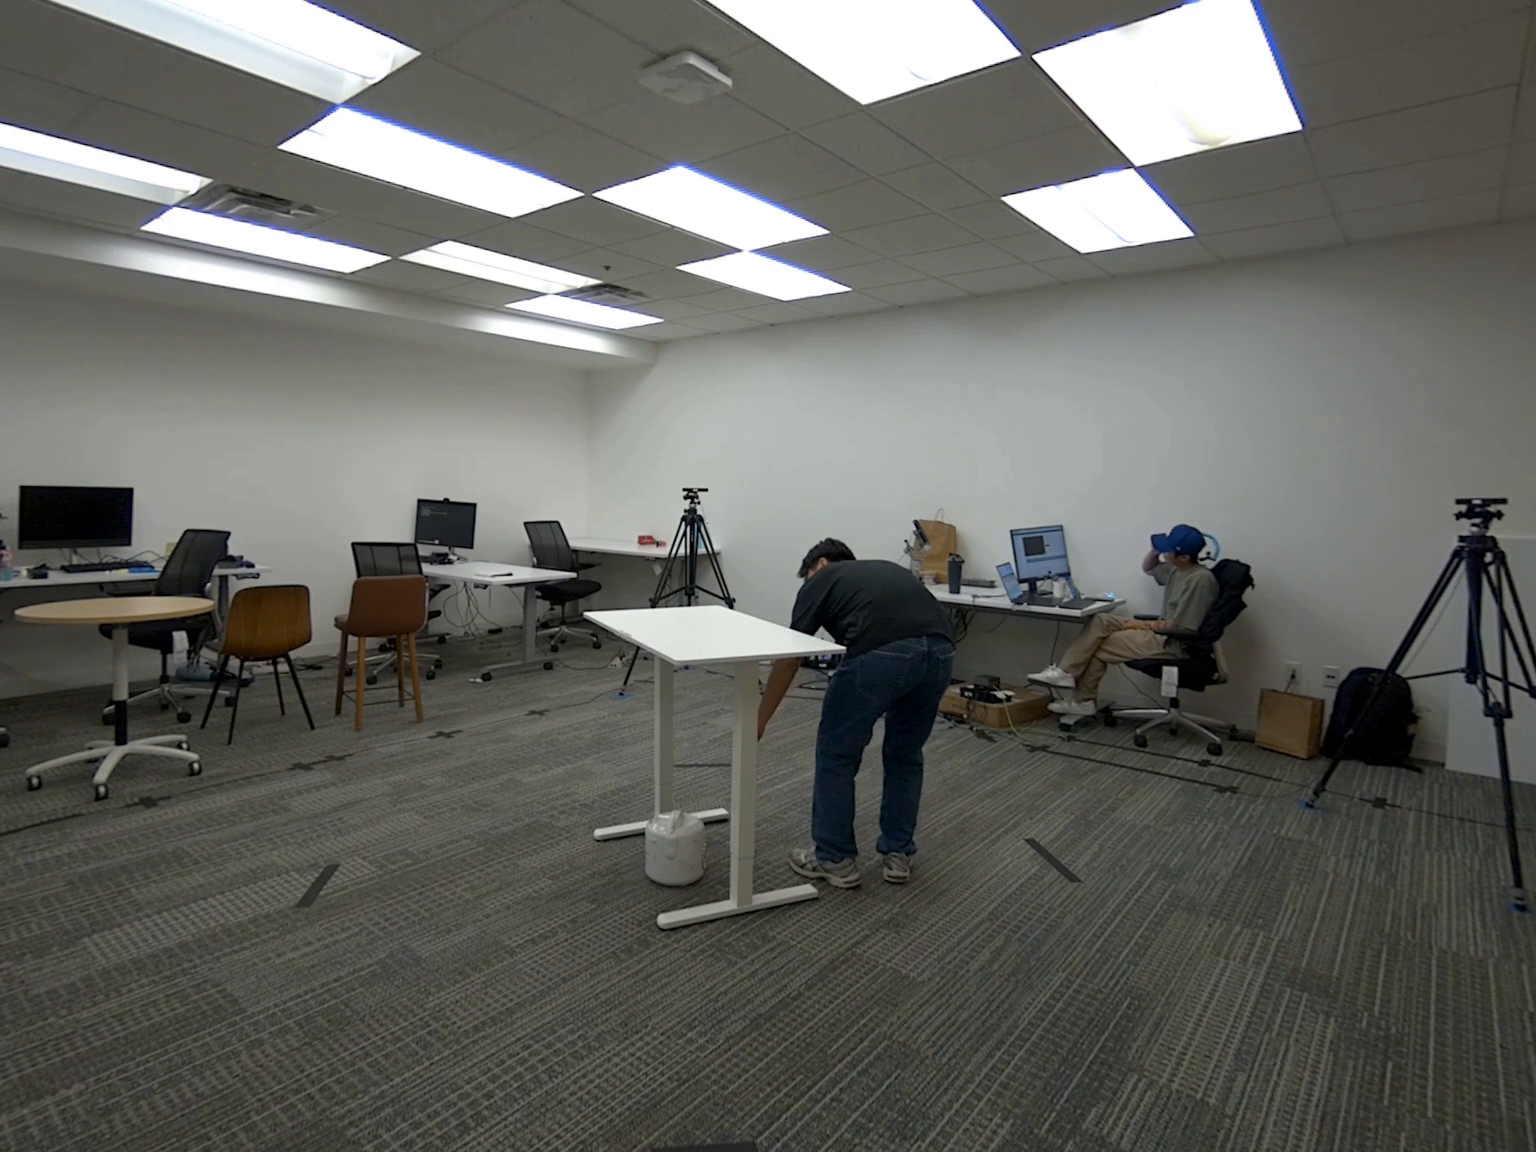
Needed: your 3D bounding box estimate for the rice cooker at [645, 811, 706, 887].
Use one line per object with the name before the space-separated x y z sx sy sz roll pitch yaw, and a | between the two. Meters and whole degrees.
rice cooker | -0.343 0.957 3.045 0.219 0.232 0.220 0 4 5
